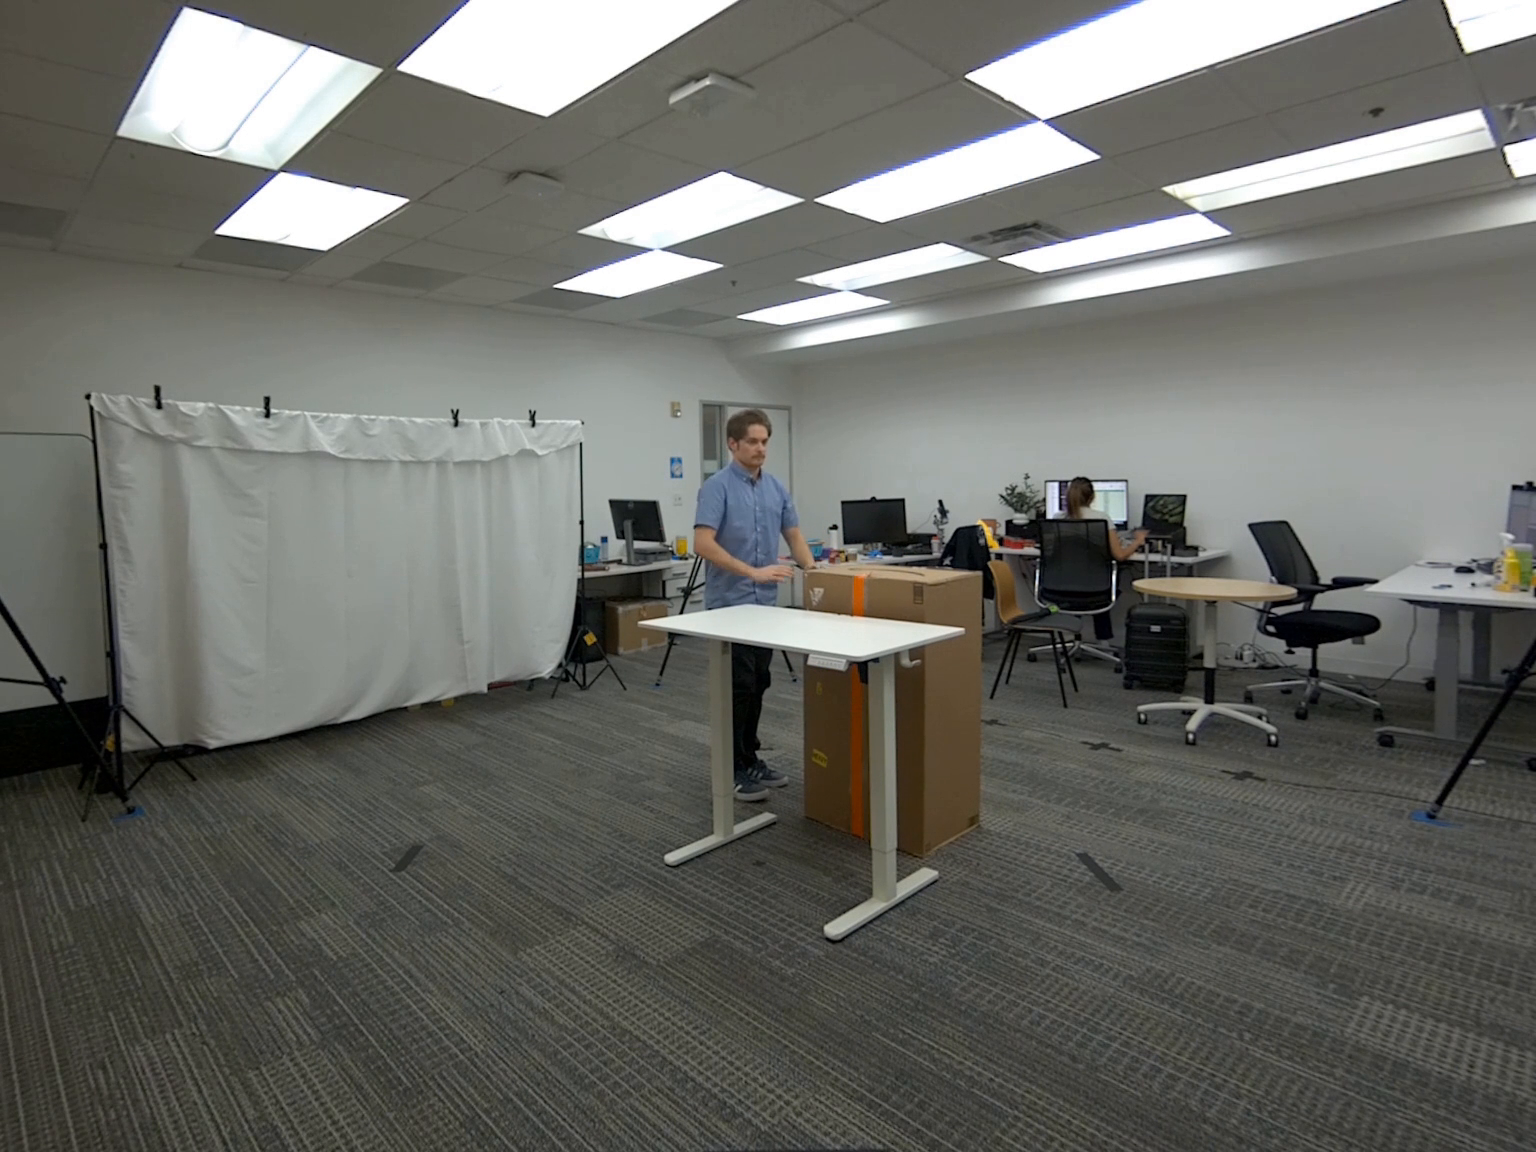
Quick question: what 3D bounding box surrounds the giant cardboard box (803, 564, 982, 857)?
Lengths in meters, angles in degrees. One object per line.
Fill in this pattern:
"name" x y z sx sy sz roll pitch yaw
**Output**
"giant cardboard box" 0.496 0.491 3.439 0.415 1.022 0.595 -4 6 -45
